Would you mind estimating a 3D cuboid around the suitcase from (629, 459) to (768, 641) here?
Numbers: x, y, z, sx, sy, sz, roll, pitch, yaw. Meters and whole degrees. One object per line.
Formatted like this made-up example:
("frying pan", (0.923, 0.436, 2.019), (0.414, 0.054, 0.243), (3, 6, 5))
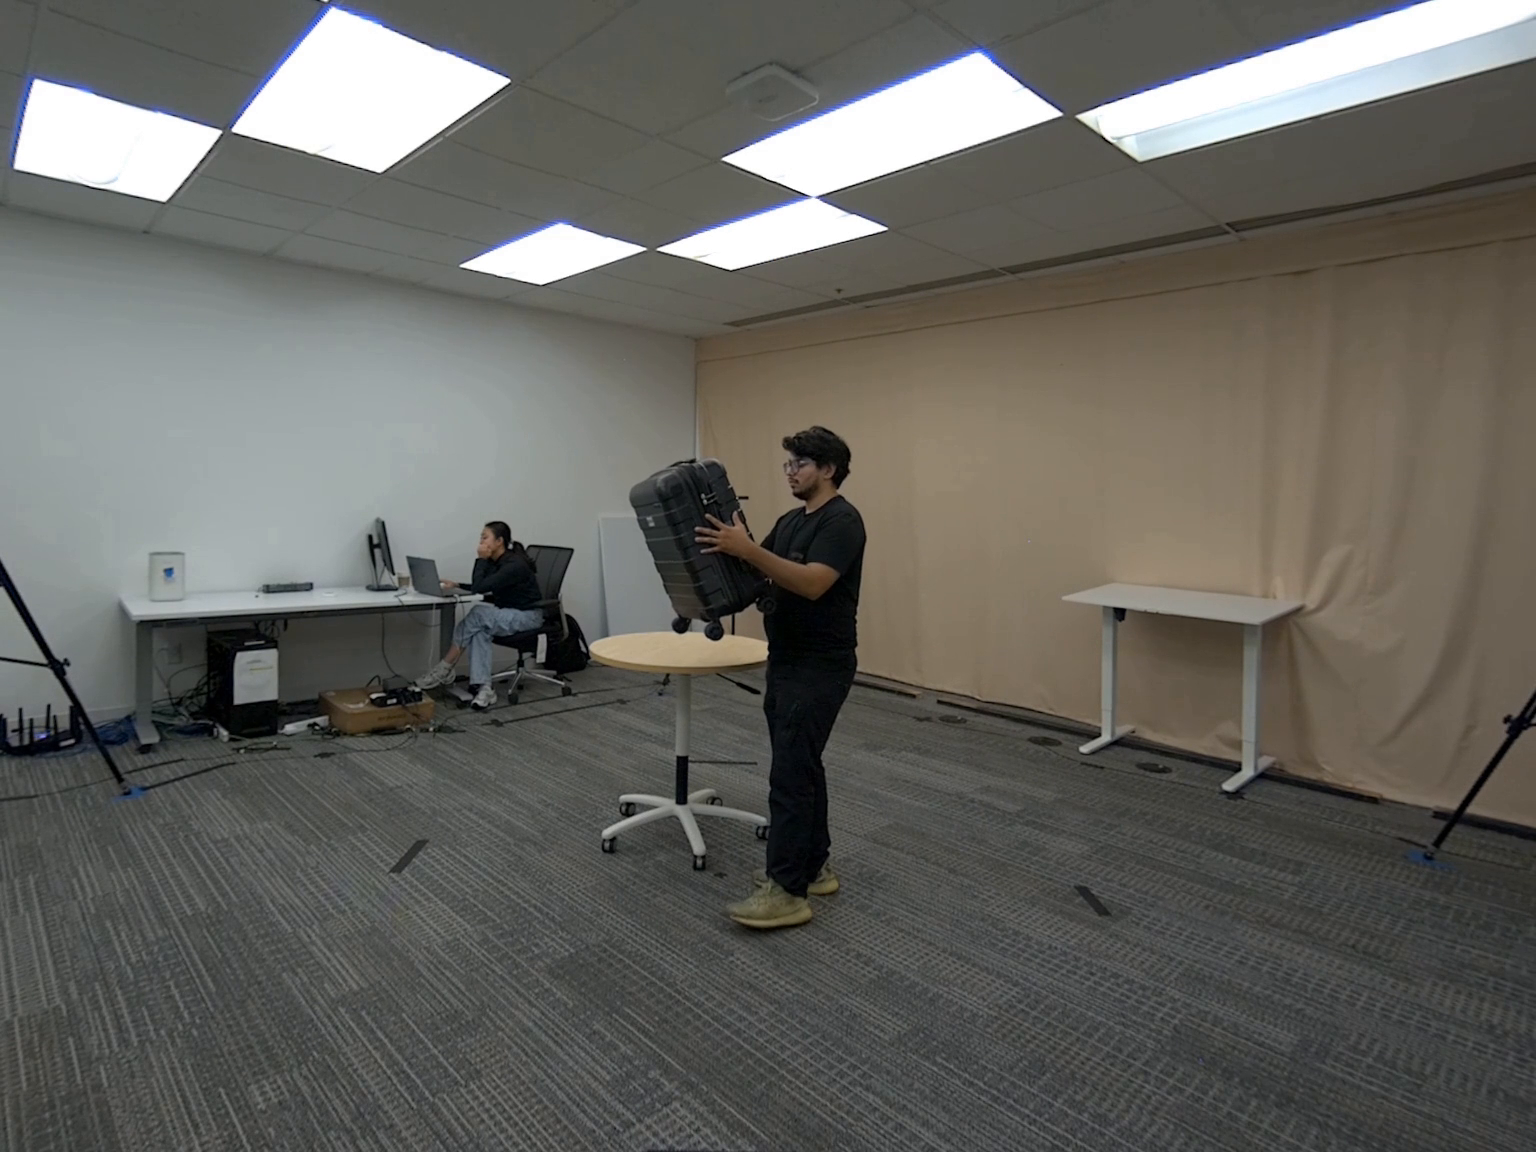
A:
("suitcase", (-0.232, -0.102, 2.777), (0.246, 0.544, 0.382), (-25, 10, -24))
